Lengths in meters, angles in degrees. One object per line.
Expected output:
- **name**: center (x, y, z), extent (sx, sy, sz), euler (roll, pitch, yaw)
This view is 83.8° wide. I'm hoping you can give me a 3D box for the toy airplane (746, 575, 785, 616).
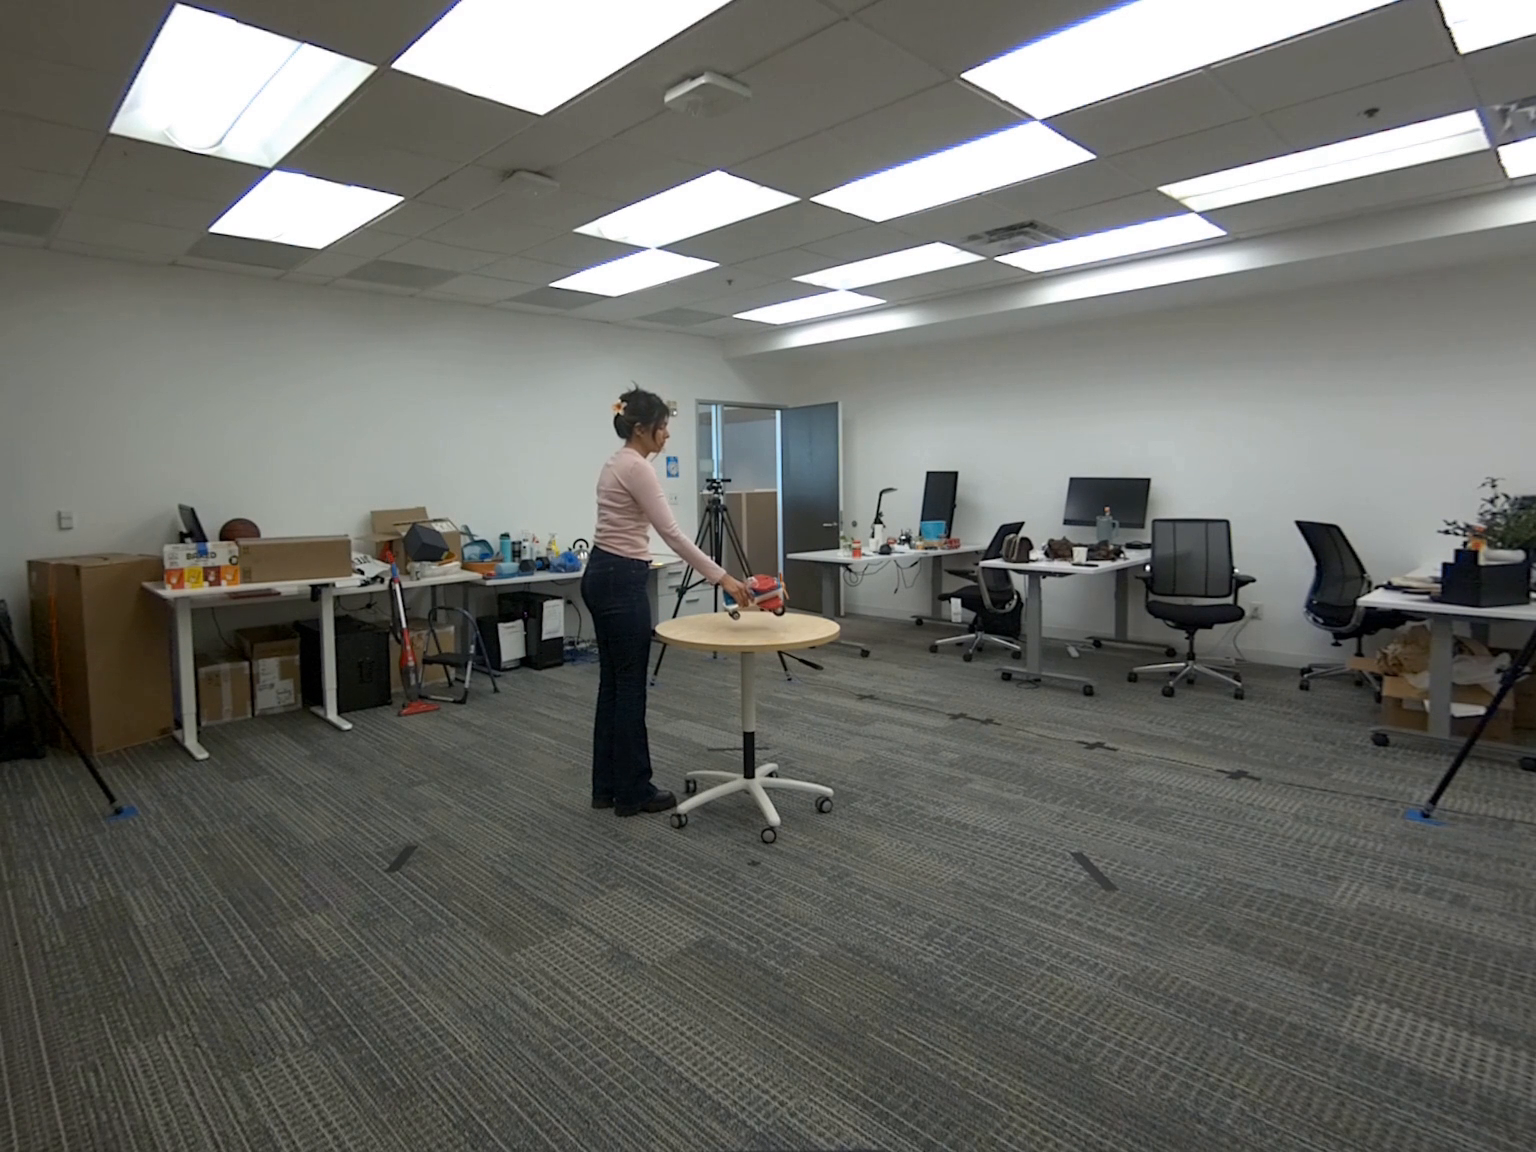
- **toy airplane**: center (-0.051, 0.090, 3.446), extent (0.253, 0.155, 0.259), euler (-10, 11, -41)
